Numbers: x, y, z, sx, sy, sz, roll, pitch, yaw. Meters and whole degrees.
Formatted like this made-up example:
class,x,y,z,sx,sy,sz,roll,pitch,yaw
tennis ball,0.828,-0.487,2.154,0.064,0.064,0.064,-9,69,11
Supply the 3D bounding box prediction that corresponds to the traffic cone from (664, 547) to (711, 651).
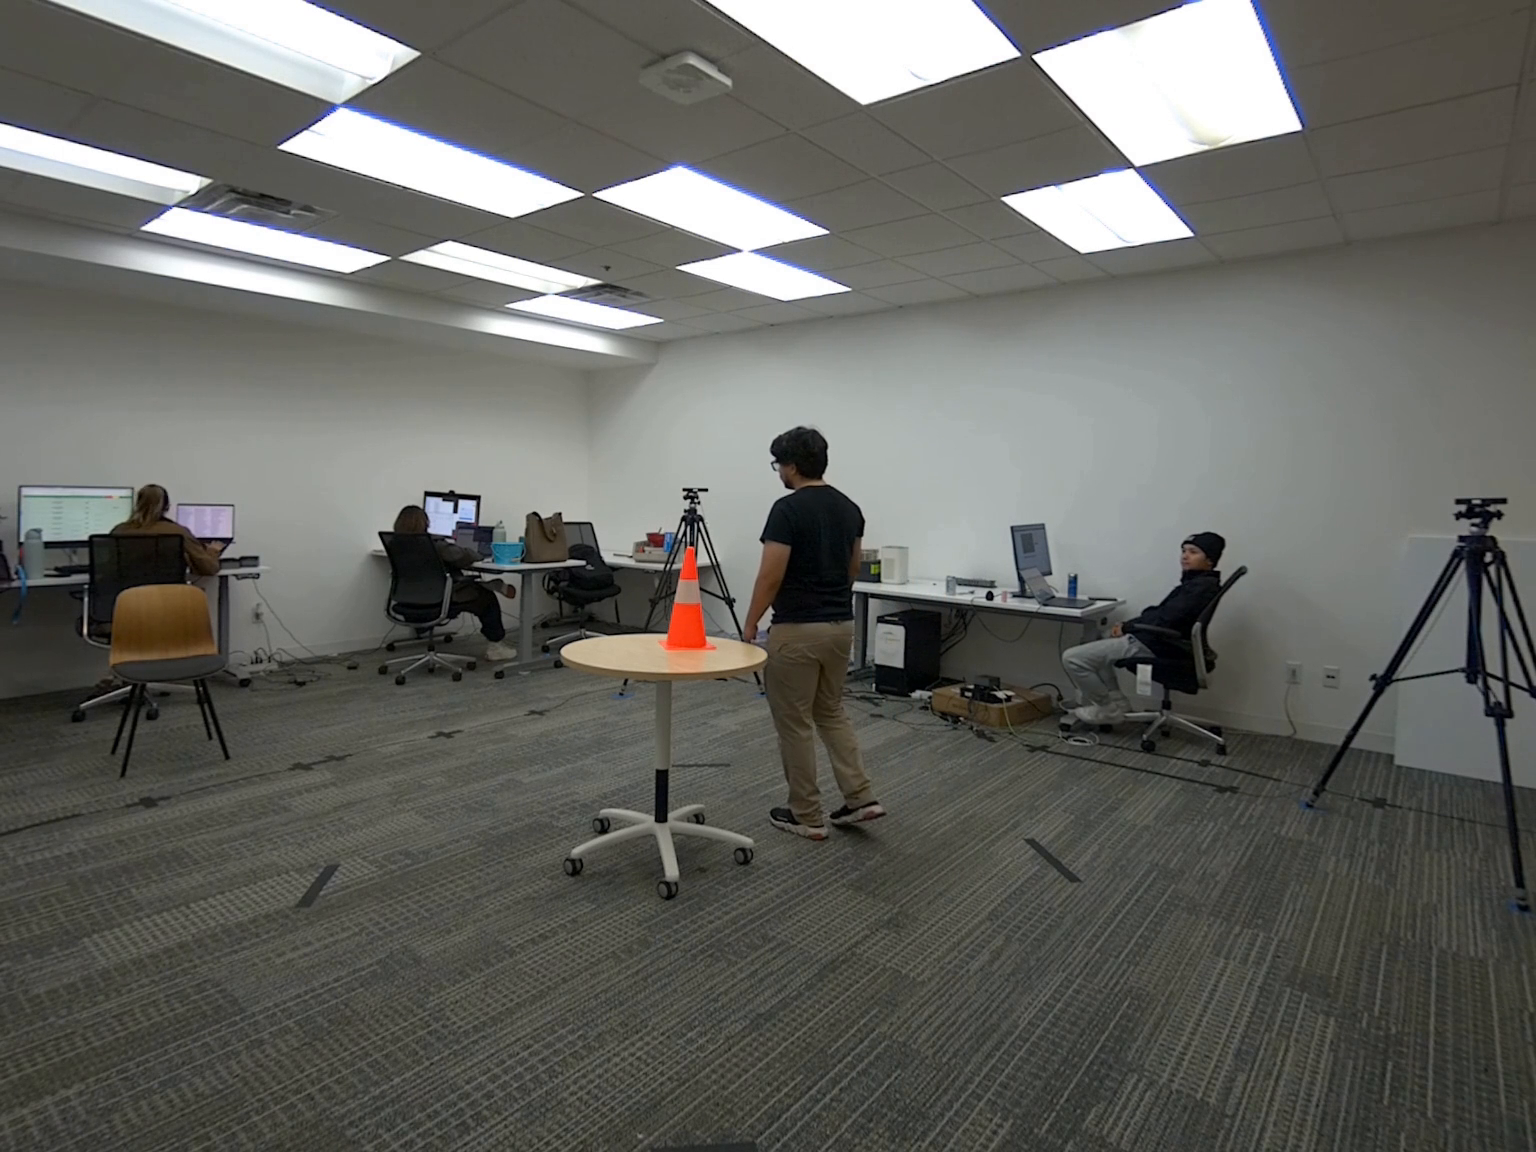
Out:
class,x,y,z,sx,sy,sz,roll,pitch,yaw
traffic cone,-0.316,0.078,3.303,0.199,0.382,0.210,0,4,-22
